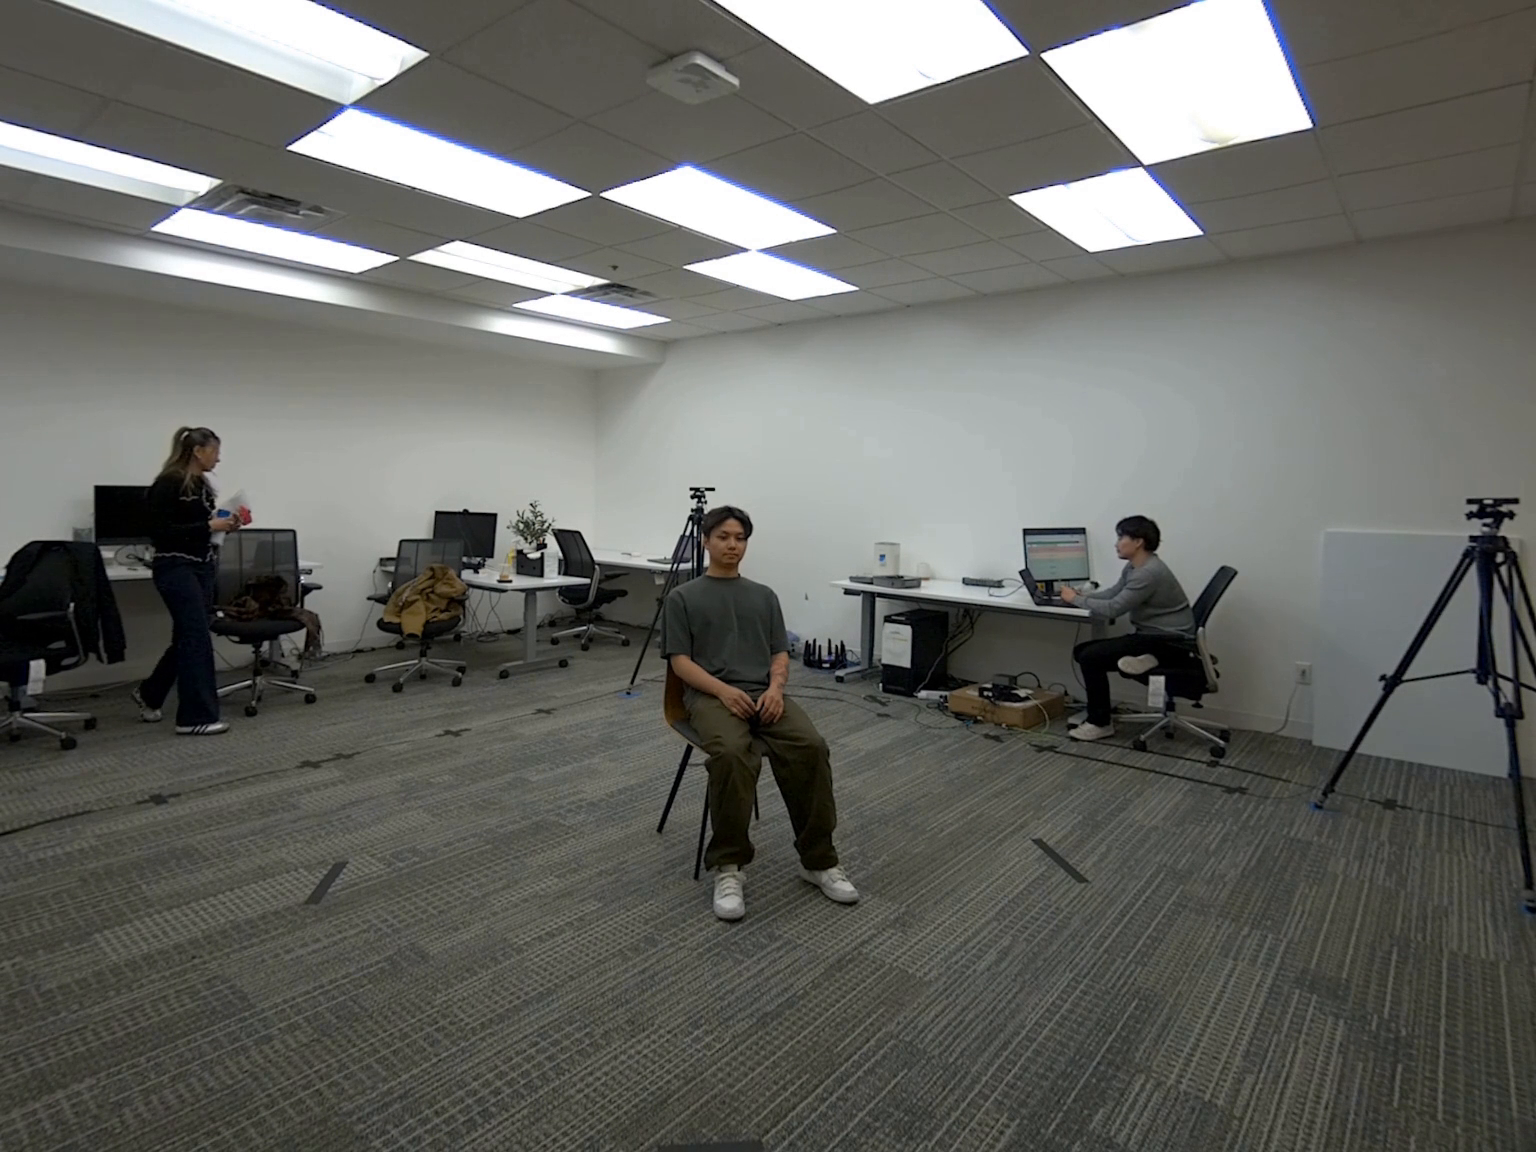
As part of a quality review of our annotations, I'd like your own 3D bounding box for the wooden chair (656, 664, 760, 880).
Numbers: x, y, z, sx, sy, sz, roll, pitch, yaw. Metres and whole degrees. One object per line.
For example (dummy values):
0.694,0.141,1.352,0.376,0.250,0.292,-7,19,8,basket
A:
-0.148,0.617,3.279,0.467,0.878,0.535,0,-1,-24,wooden chair
